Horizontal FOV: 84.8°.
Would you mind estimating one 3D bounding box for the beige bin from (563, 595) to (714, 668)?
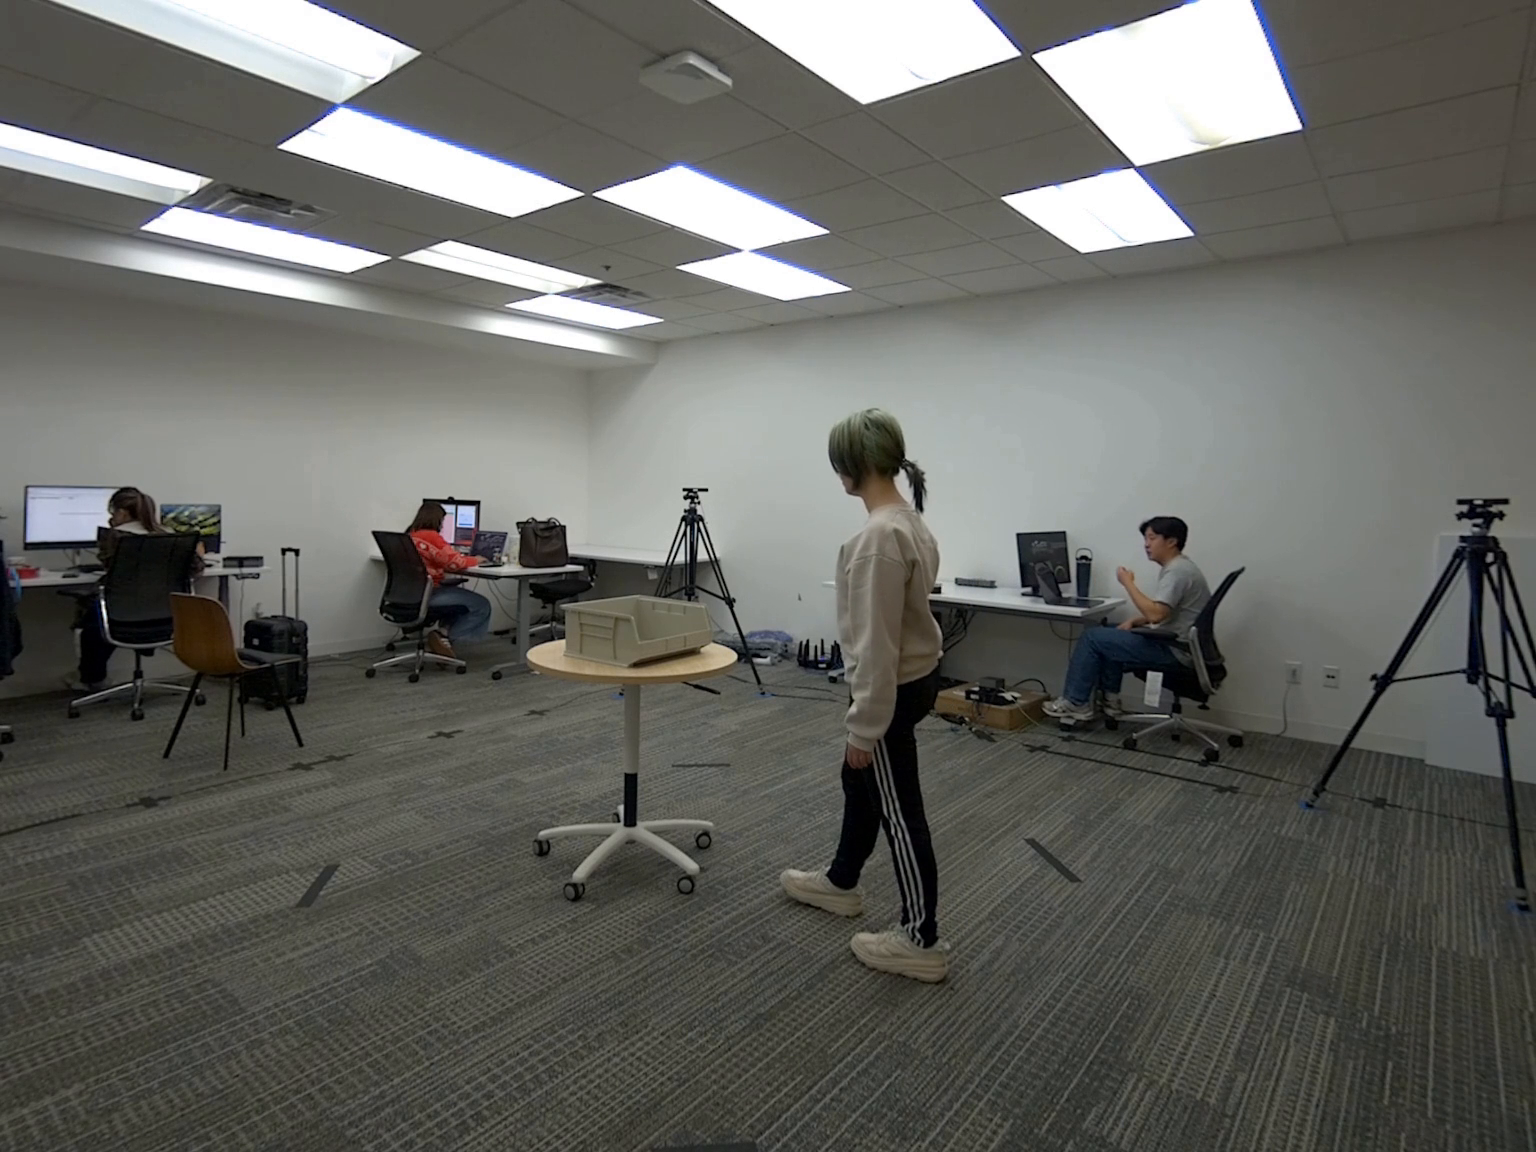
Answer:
[{"bbox_3d":[-0.484,0.196,3.100,0.389,0.188,0.411,4,6,35],"label":"beige bin"}]
